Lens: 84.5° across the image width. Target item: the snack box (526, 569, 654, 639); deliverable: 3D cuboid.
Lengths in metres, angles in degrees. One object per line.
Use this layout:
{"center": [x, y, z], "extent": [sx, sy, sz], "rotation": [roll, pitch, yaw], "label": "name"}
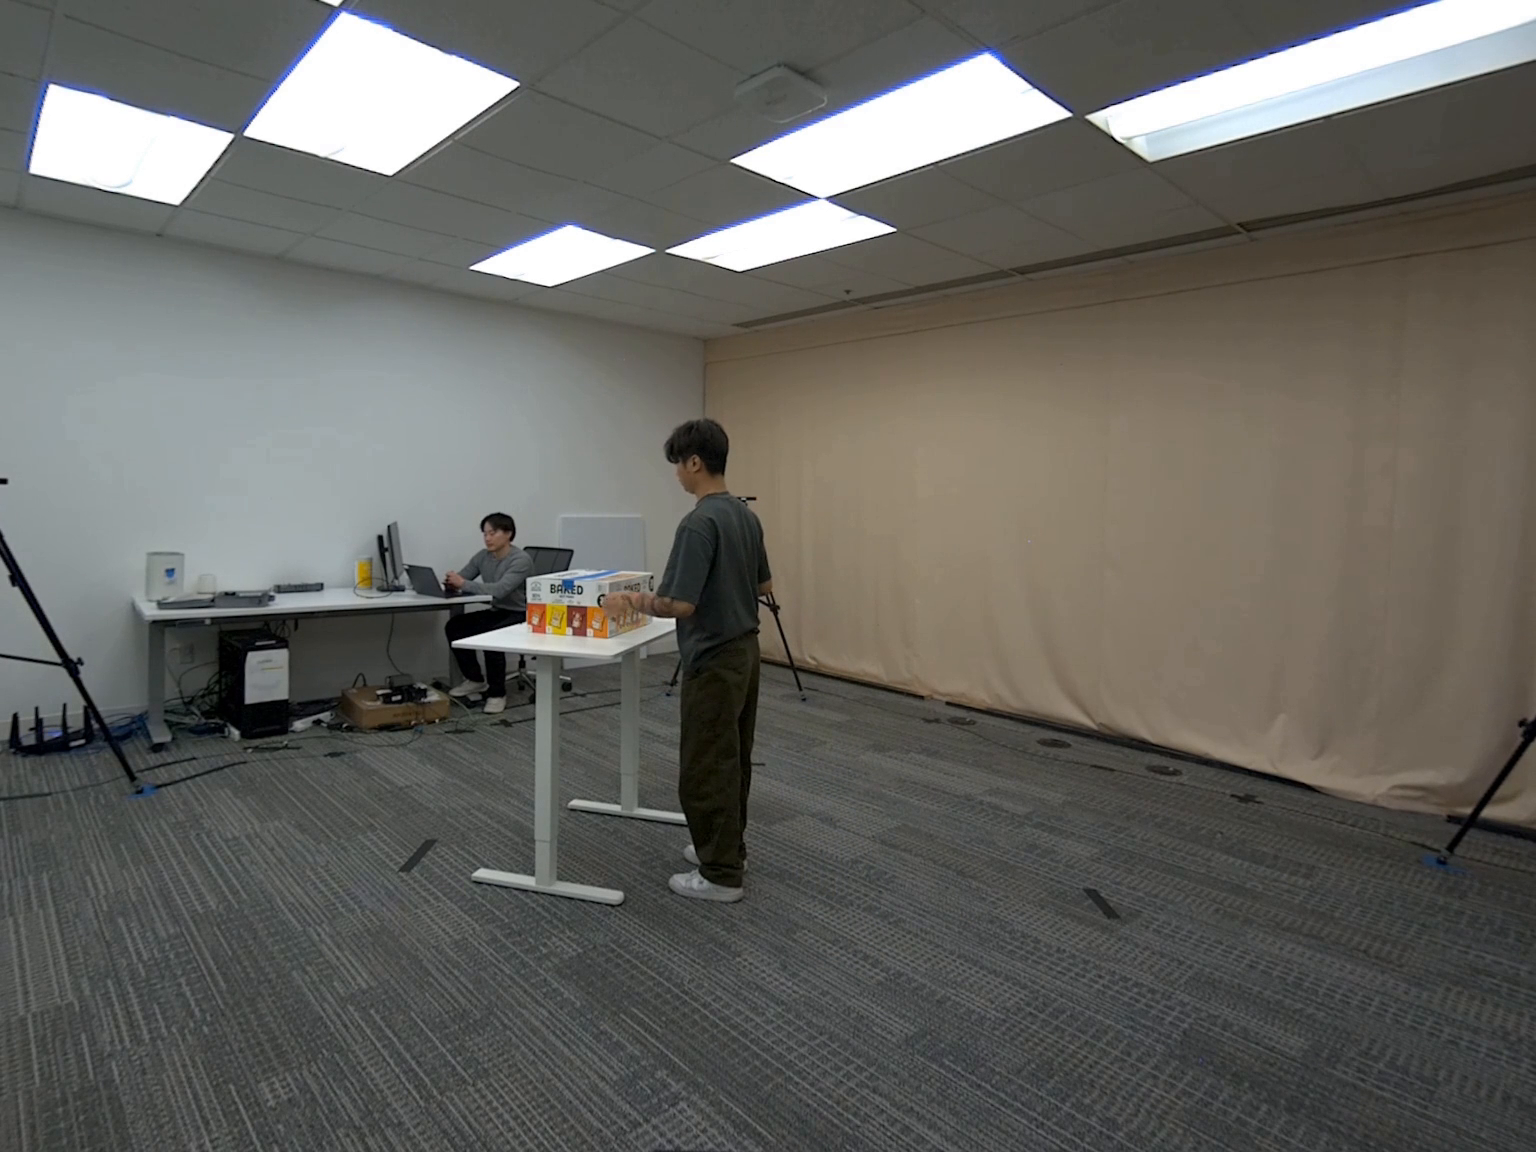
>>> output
{"center": [-0.683, 0.099, 3.249], "extent": [0.345, 0.205, 0.401], "rotation": [3, 5, 17], "label": "snack box"}
